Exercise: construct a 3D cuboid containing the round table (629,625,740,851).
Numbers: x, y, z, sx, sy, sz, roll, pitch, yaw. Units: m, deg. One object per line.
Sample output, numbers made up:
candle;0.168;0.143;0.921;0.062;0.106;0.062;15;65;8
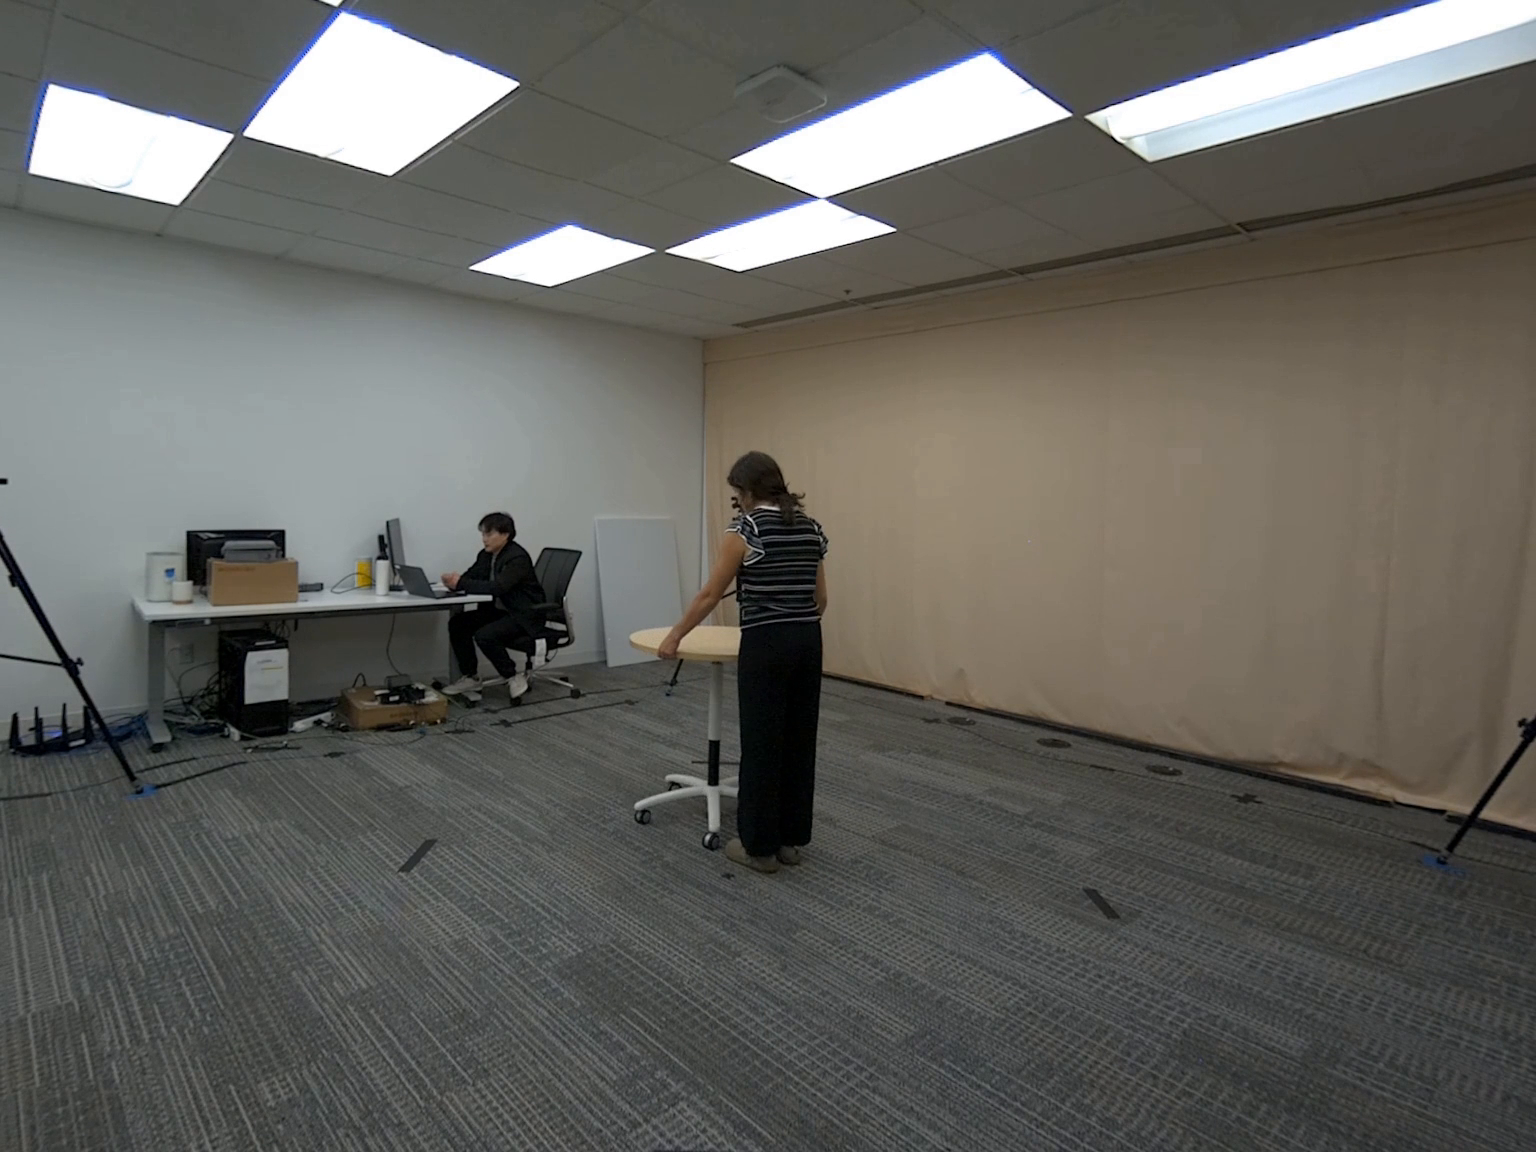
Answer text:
round table;-0.227;0.662;3.680;0.784;0.785;0.787;2;4;-2
